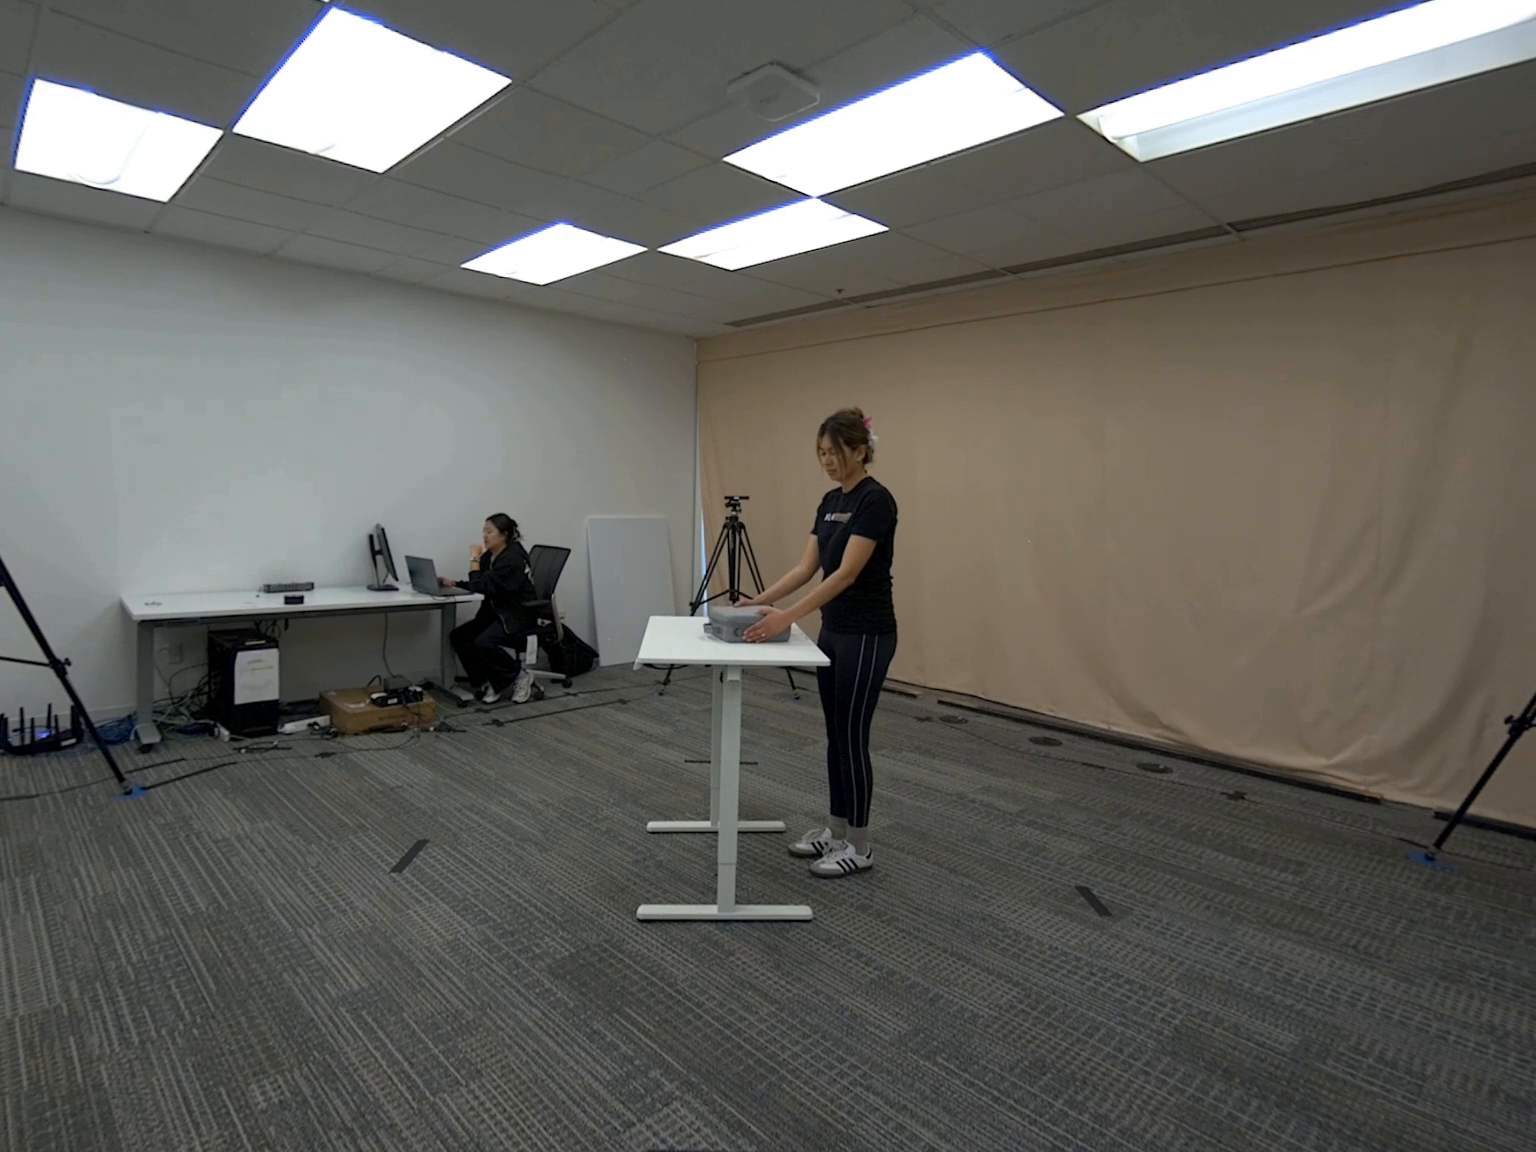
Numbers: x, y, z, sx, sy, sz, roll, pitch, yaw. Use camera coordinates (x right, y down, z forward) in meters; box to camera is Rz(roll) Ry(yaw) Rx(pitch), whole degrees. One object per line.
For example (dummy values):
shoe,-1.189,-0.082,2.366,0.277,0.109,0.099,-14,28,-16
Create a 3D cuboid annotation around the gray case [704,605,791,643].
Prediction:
gray case,-0.079,0.178,3.062,0.257,0.104,0.261,-1,6,-17
